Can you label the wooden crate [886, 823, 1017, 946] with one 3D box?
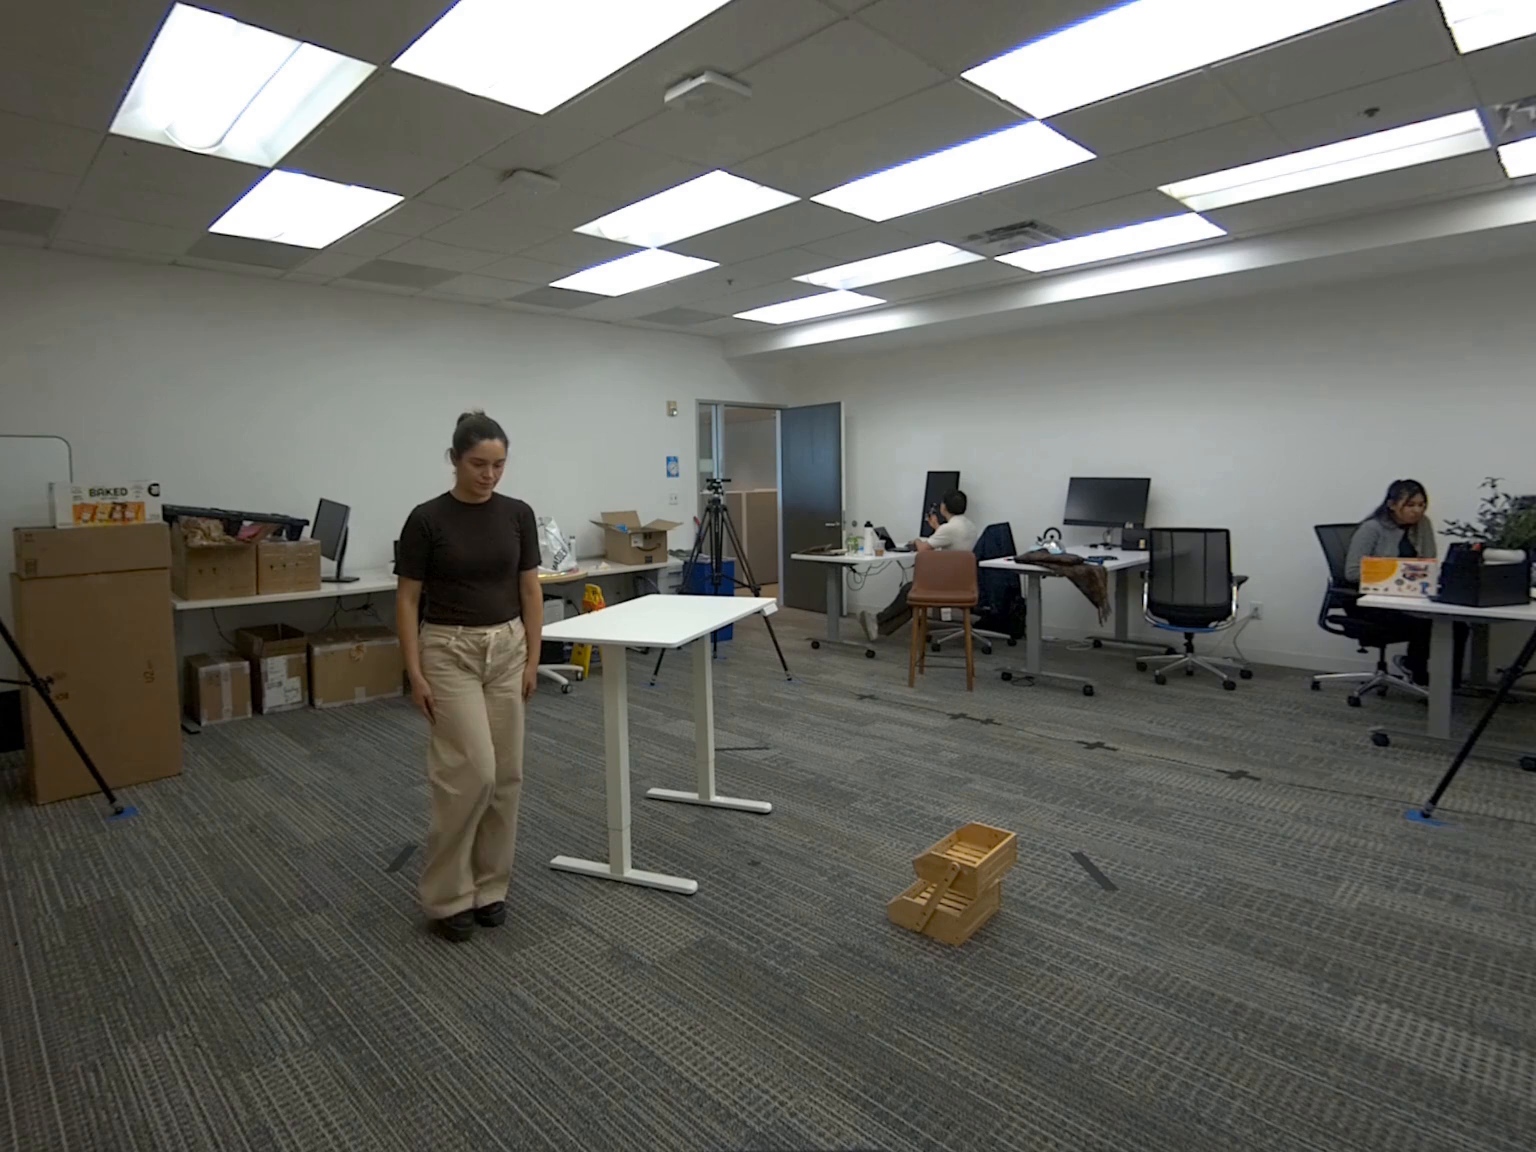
[{"bbox_3d":[0.587,0.956,2.690,0.311,0.272,0.316,6,8,38],"label":"wooden crate"}]
